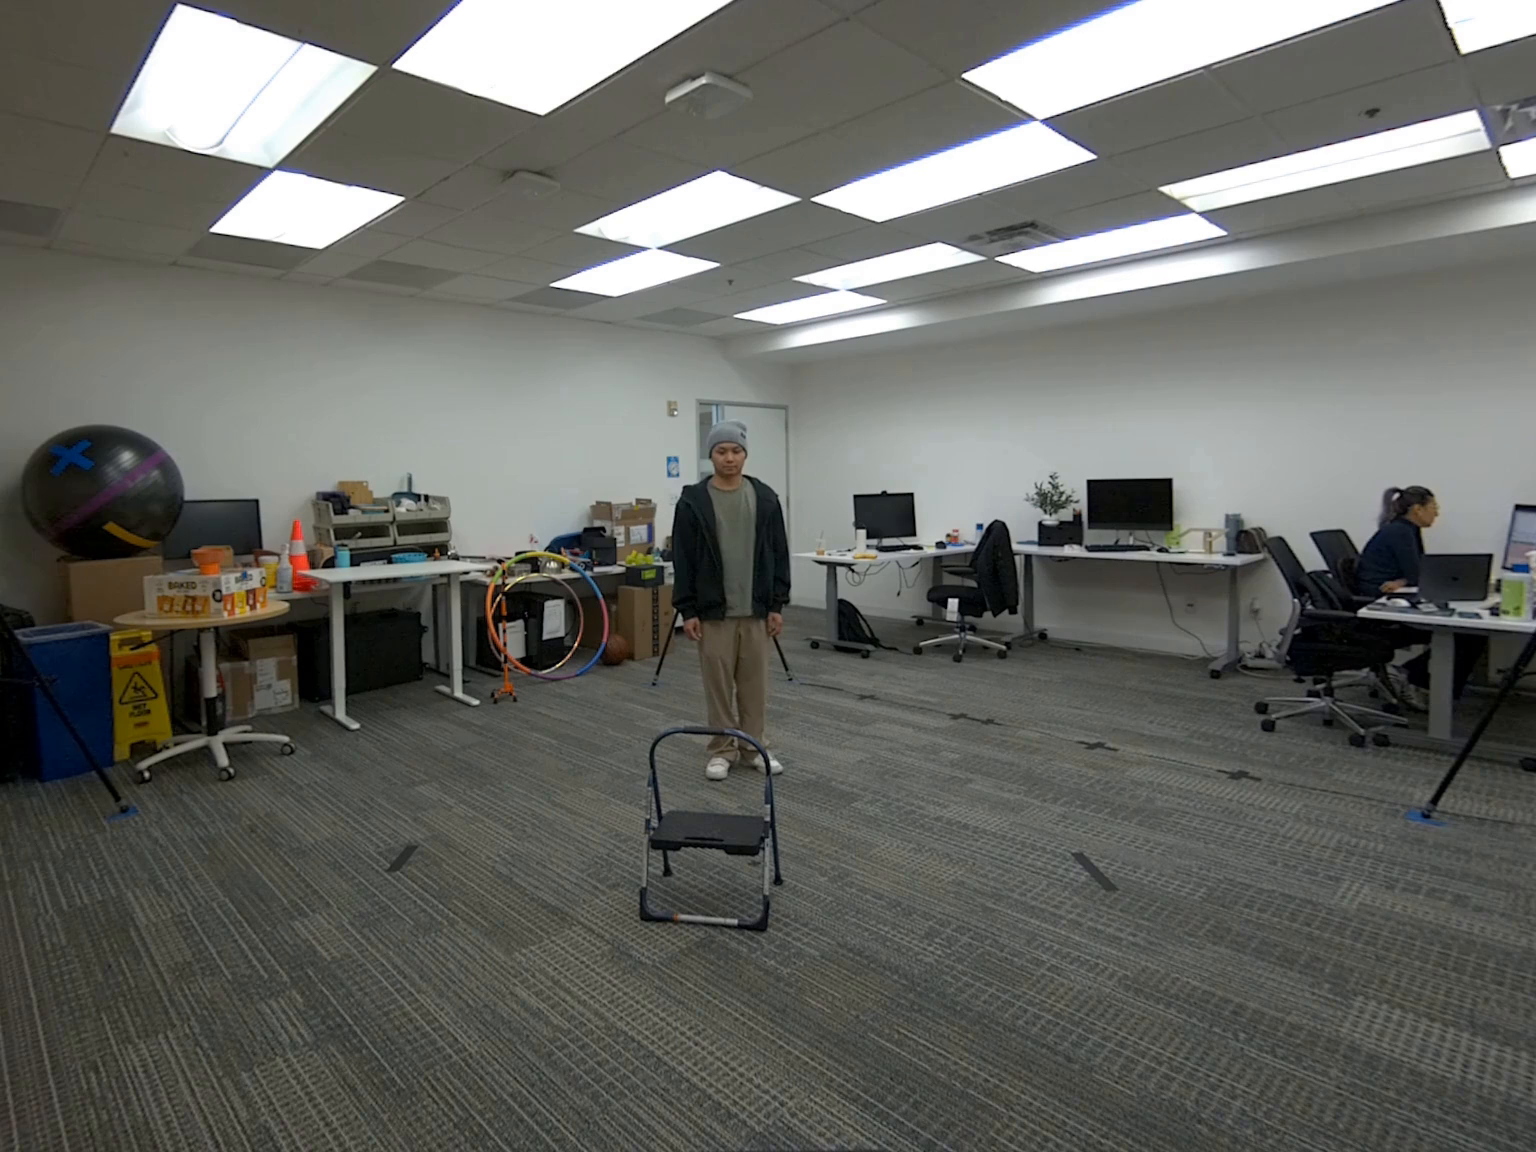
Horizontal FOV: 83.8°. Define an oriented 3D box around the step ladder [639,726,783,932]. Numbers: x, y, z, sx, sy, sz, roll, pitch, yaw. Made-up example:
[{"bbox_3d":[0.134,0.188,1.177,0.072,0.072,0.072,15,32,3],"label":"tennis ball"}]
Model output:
[{"bbox_3d":[-0.190,0.781,2.822,0.435,0.604,0.347,1,4,10],"label":"step ladder"}]
